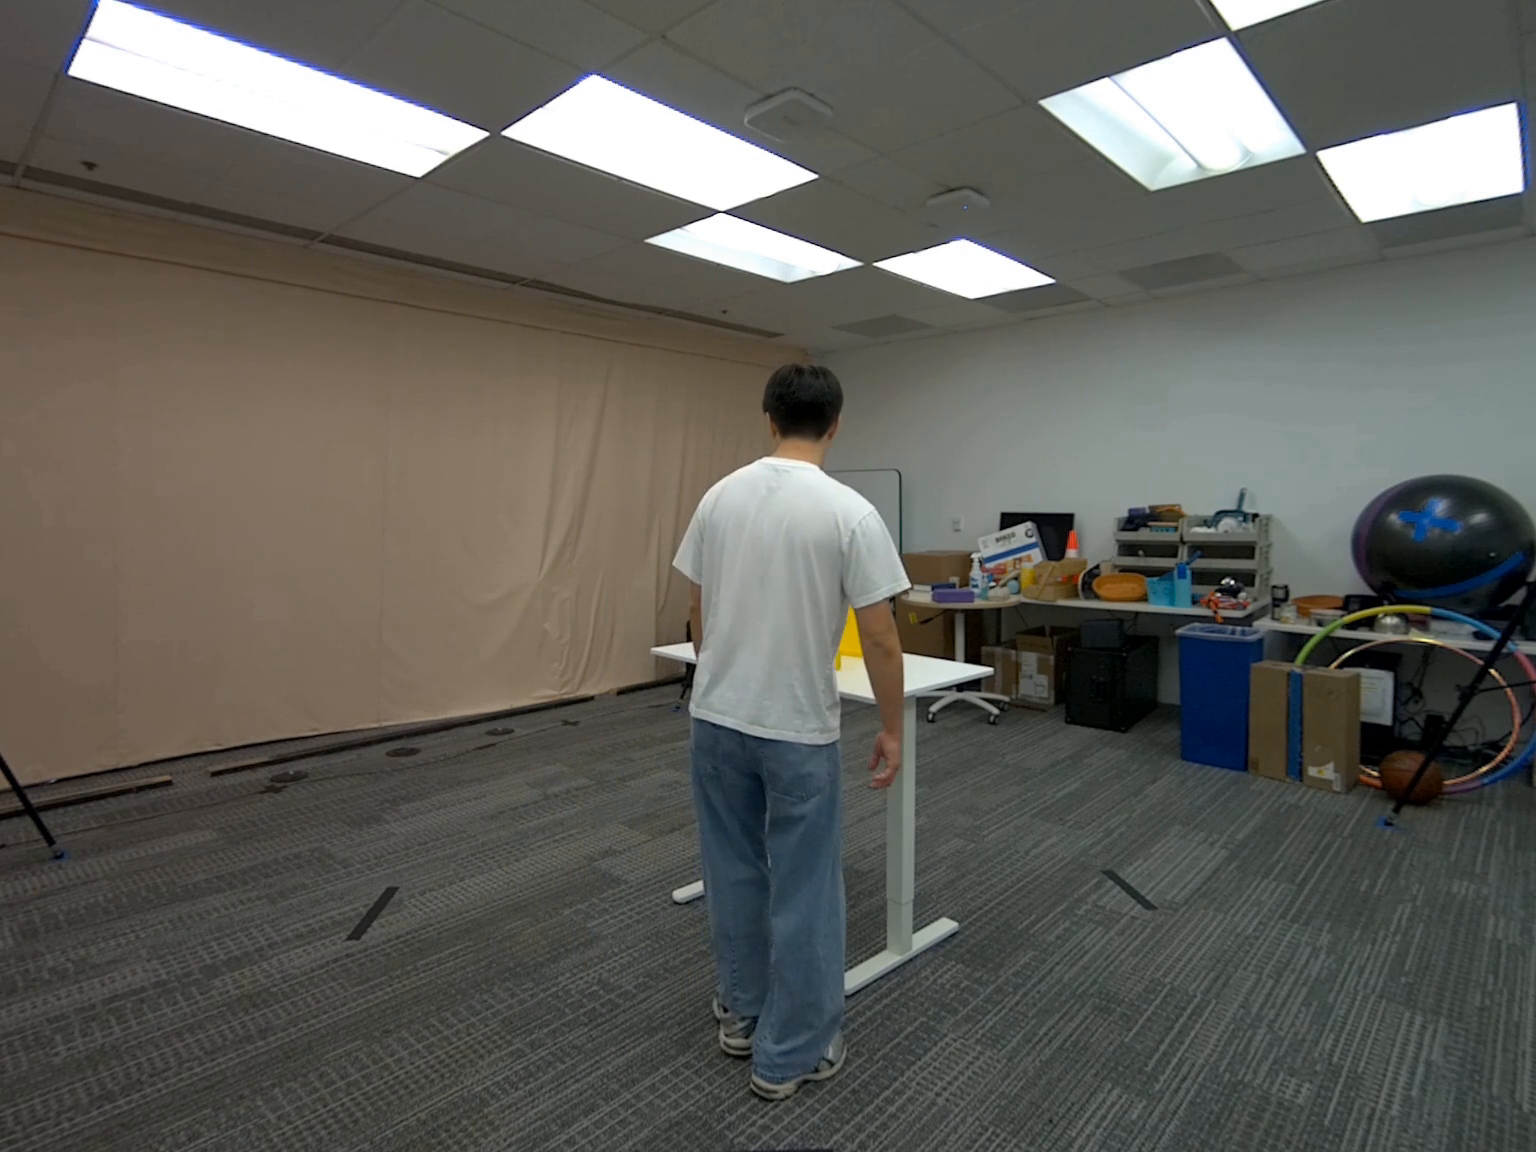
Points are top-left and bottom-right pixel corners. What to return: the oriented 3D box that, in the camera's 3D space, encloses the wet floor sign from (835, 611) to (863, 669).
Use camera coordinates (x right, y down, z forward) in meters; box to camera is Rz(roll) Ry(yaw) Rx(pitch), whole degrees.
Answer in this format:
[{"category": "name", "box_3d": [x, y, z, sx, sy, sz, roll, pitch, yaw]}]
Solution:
[{"category": "wet floor sign", "box_3d": [0.076, 0.141, 2.907, 0.281, 0.282, 0.667, -6, 5, -43]}]
